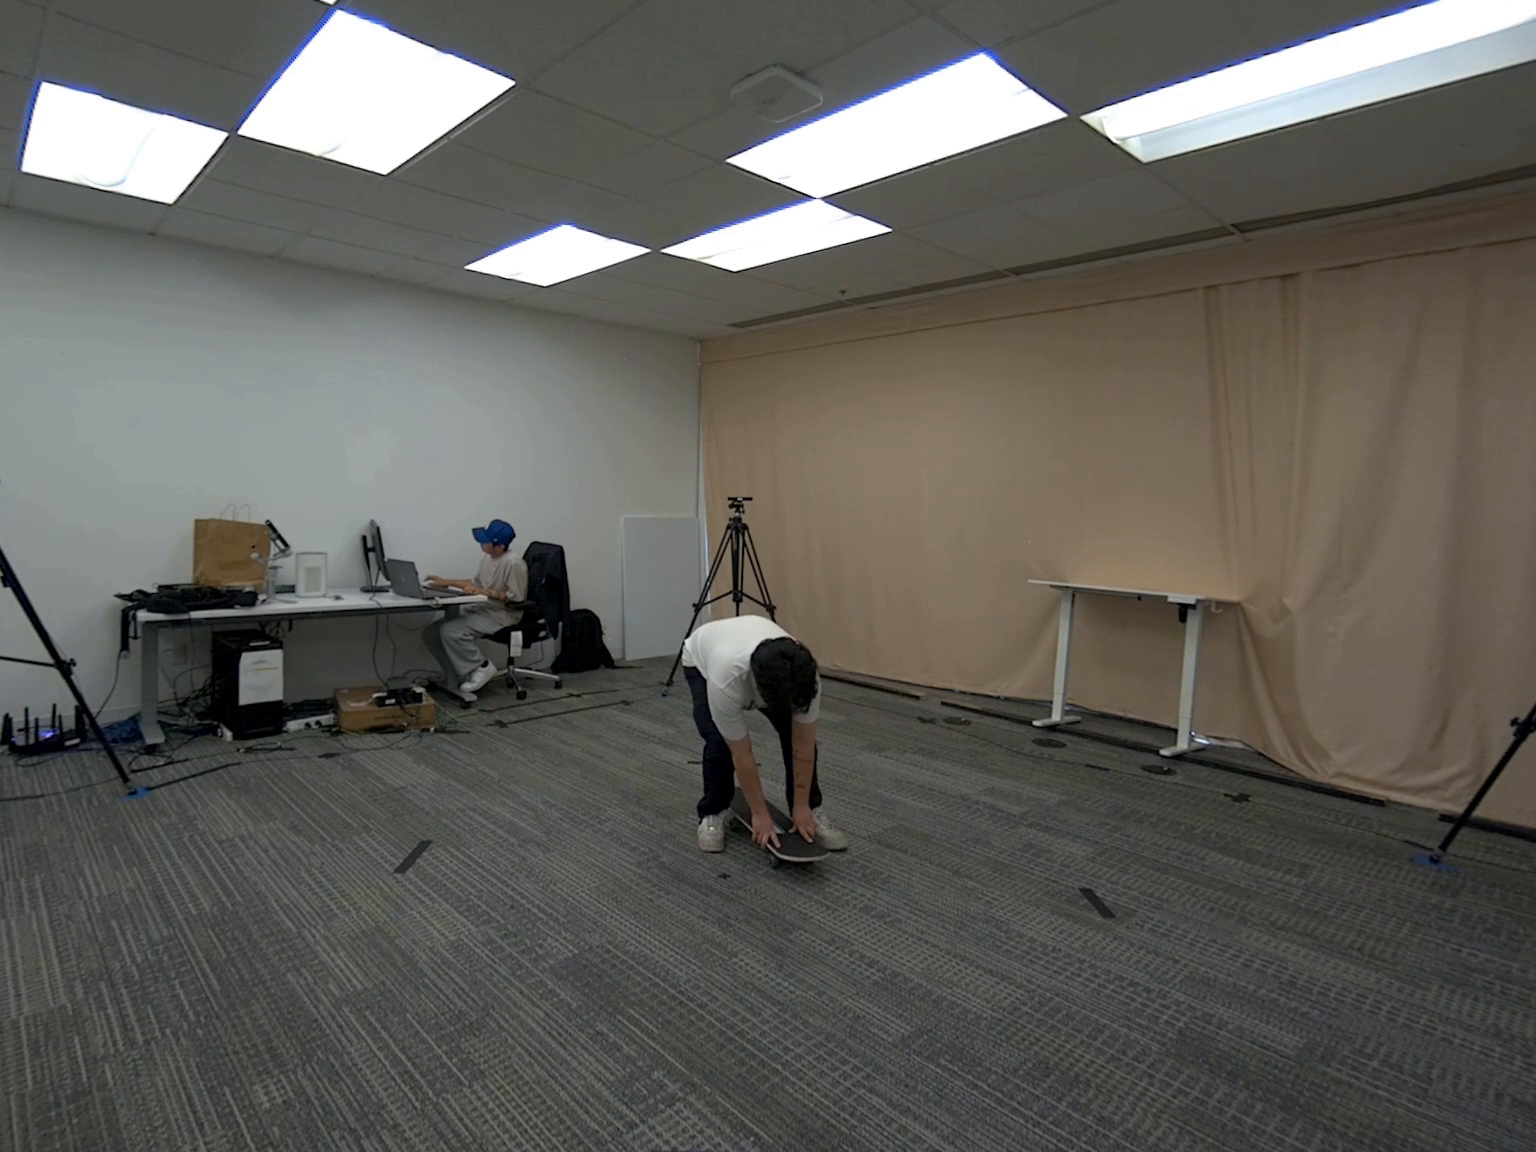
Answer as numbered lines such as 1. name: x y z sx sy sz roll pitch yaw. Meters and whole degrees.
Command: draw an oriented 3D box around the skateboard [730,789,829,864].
1. skateboard: -0.002 1.034 3.396 0.190 0.110 0.800 0 5 -23
